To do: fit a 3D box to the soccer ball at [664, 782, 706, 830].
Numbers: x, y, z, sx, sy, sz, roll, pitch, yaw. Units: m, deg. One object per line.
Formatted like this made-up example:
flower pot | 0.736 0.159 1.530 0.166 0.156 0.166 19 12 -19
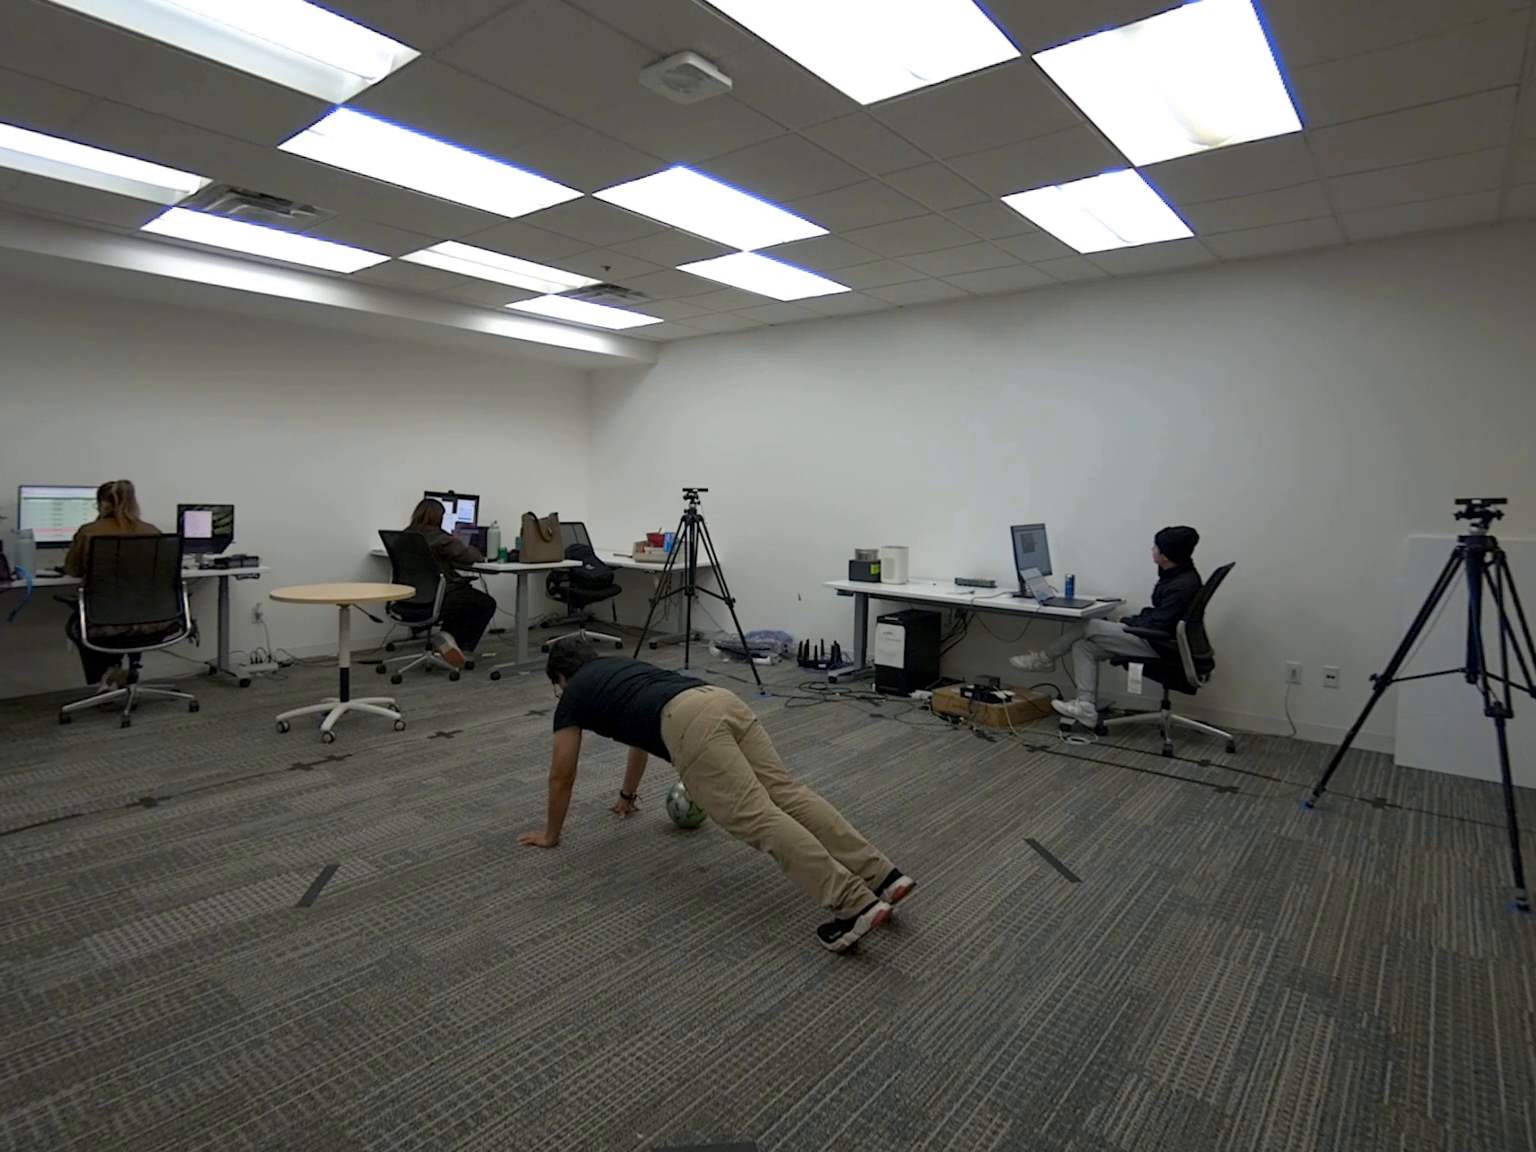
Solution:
soccer ball | -0.336 0.935 3.509 0.187 0.187 0.188 1 4 -2
